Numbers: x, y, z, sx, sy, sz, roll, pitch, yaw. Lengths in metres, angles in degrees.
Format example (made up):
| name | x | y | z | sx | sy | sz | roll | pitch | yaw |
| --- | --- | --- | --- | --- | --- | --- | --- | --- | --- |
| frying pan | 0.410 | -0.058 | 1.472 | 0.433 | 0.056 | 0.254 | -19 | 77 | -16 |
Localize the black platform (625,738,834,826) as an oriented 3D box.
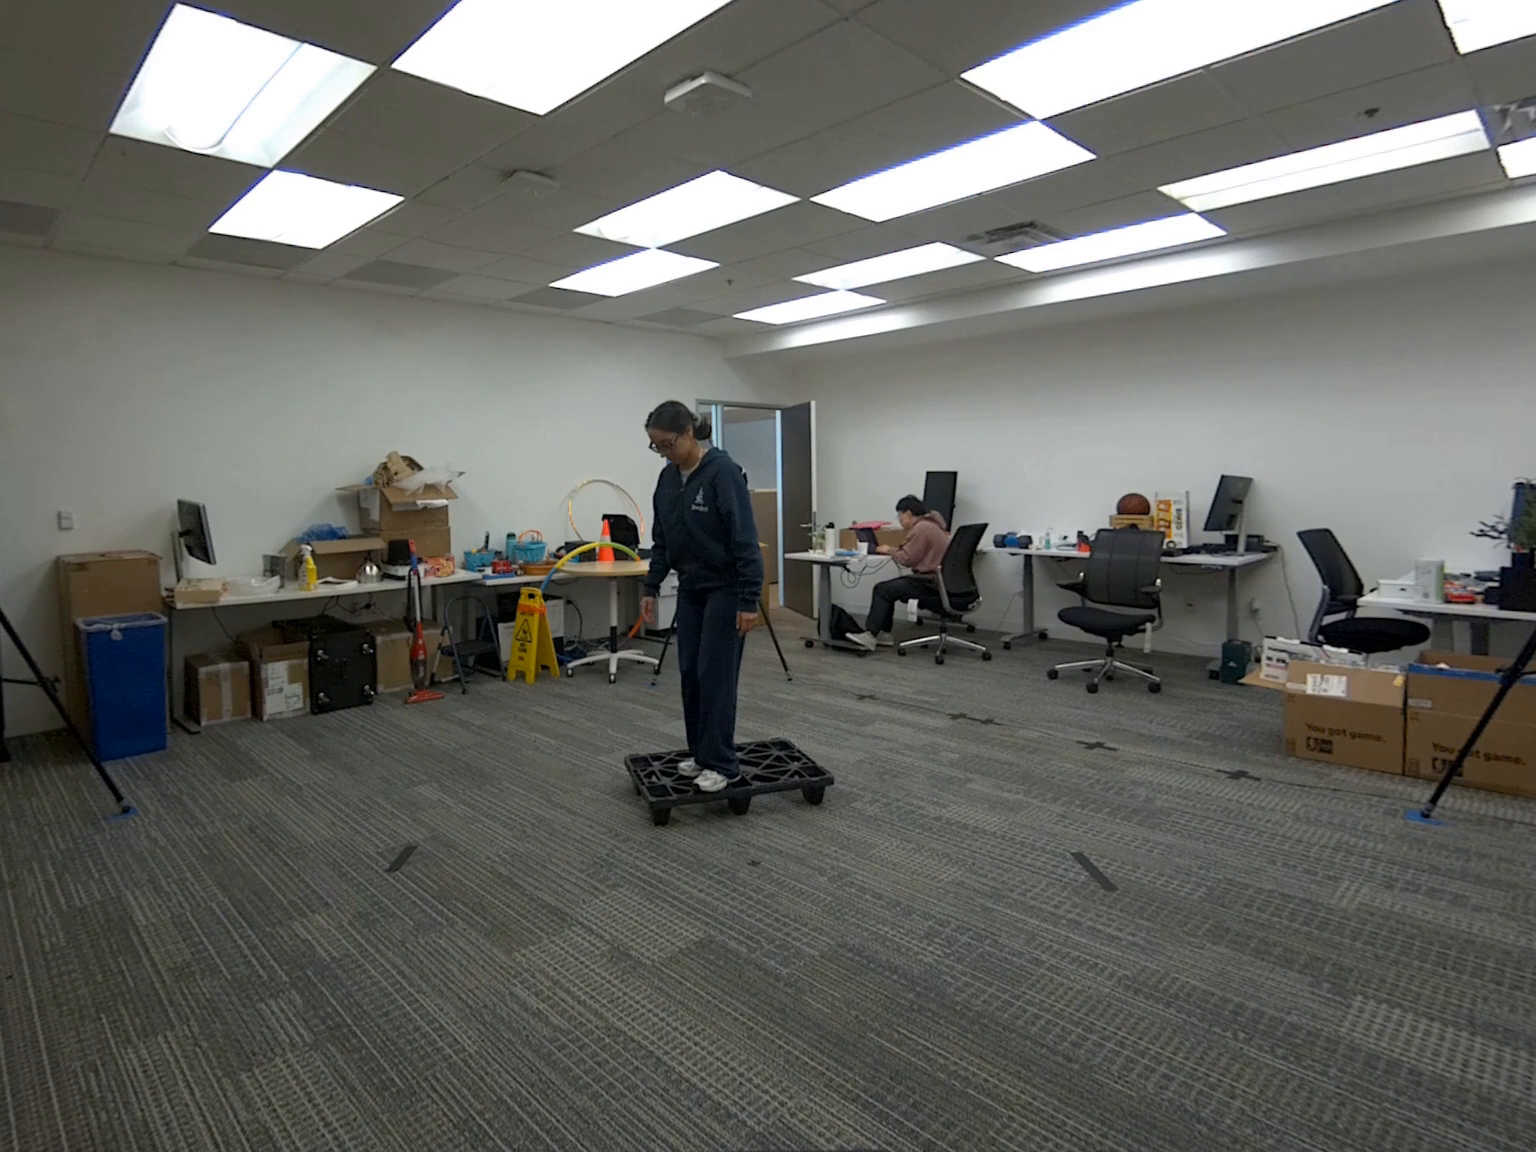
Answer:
| name | x | y | z | sx | sy | sz | roll | pitch | yaw |
| --- | --- | --- | --- | --- | --- | --- | --- | --- | --- |
| black platform | -0.183 | 0.901 | 3.773 | 0.793 | 0.142 | 0.617 | -4 | 7 | -17 |
